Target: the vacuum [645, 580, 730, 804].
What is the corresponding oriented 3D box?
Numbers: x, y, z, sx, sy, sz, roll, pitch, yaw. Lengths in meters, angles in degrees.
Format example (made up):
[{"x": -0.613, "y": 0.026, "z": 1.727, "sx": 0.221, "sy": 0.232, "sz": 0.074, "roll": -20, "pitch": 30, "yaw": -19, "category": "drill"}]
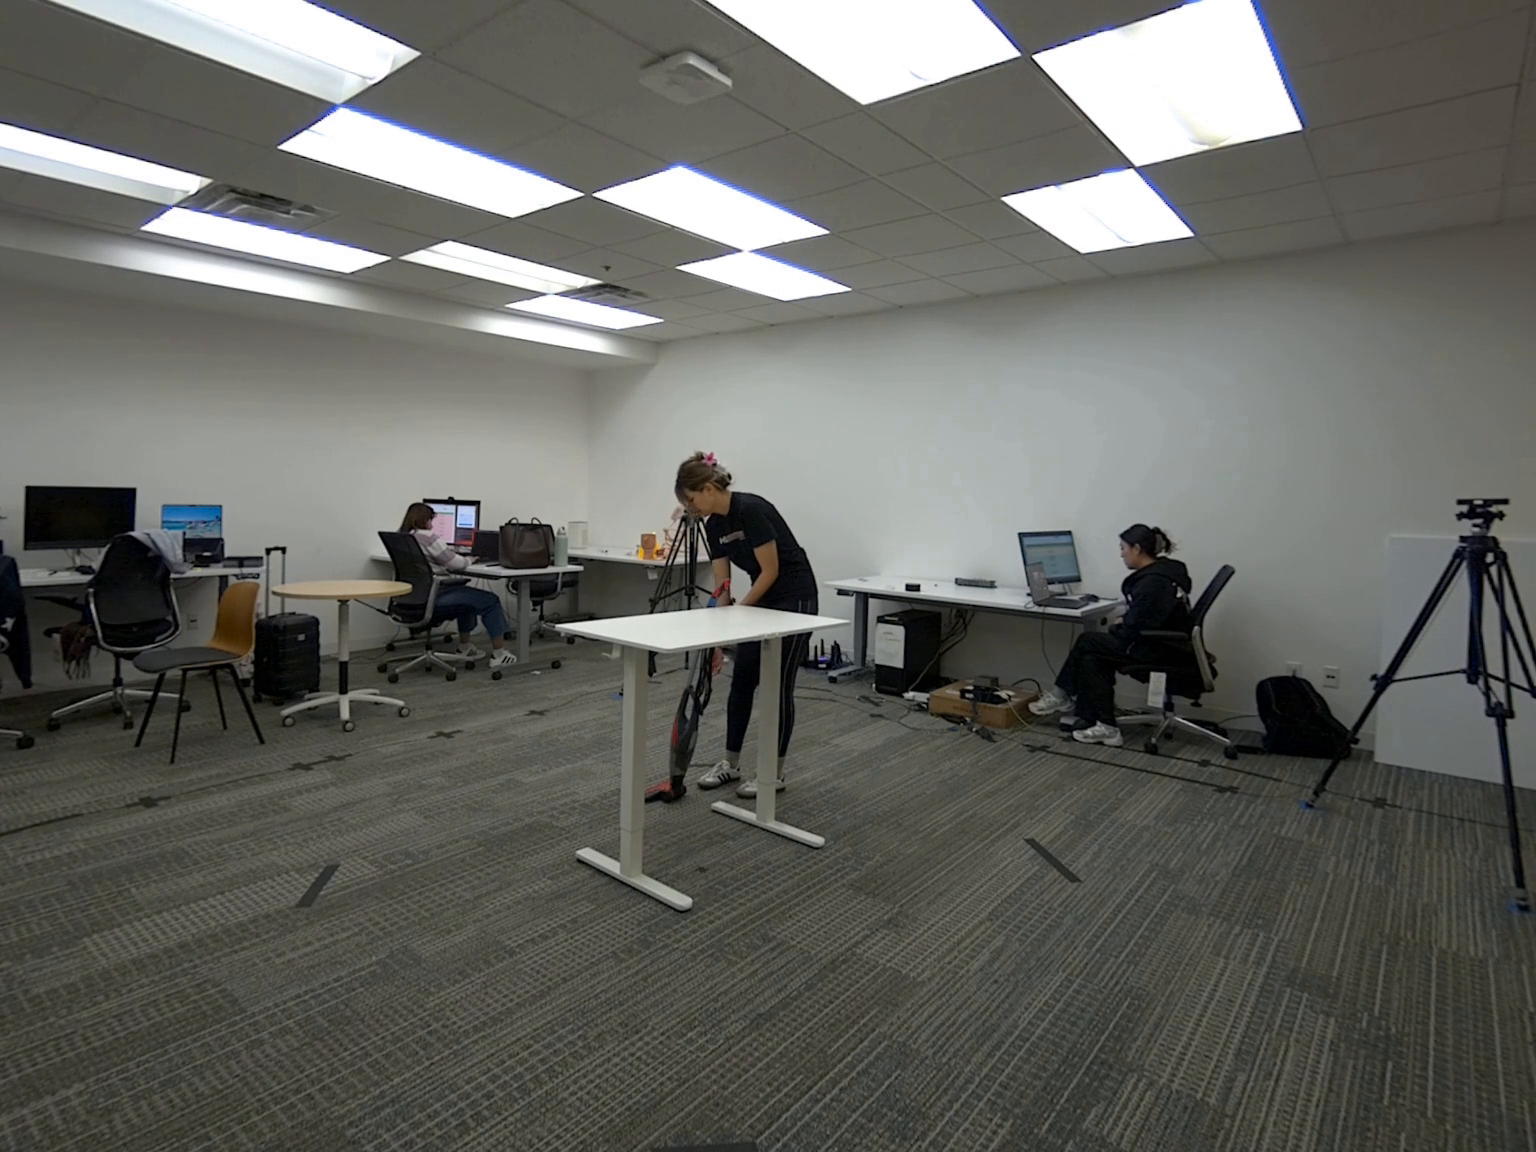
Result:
[{"x": -0.334, "y": 0.509, "z": 3.746, "sx": 0.149, "sy": 1.041, "sz": 0.245, "roll": 24, "pitch": 14, "yaw": 29, "category": "vacuum"}]
